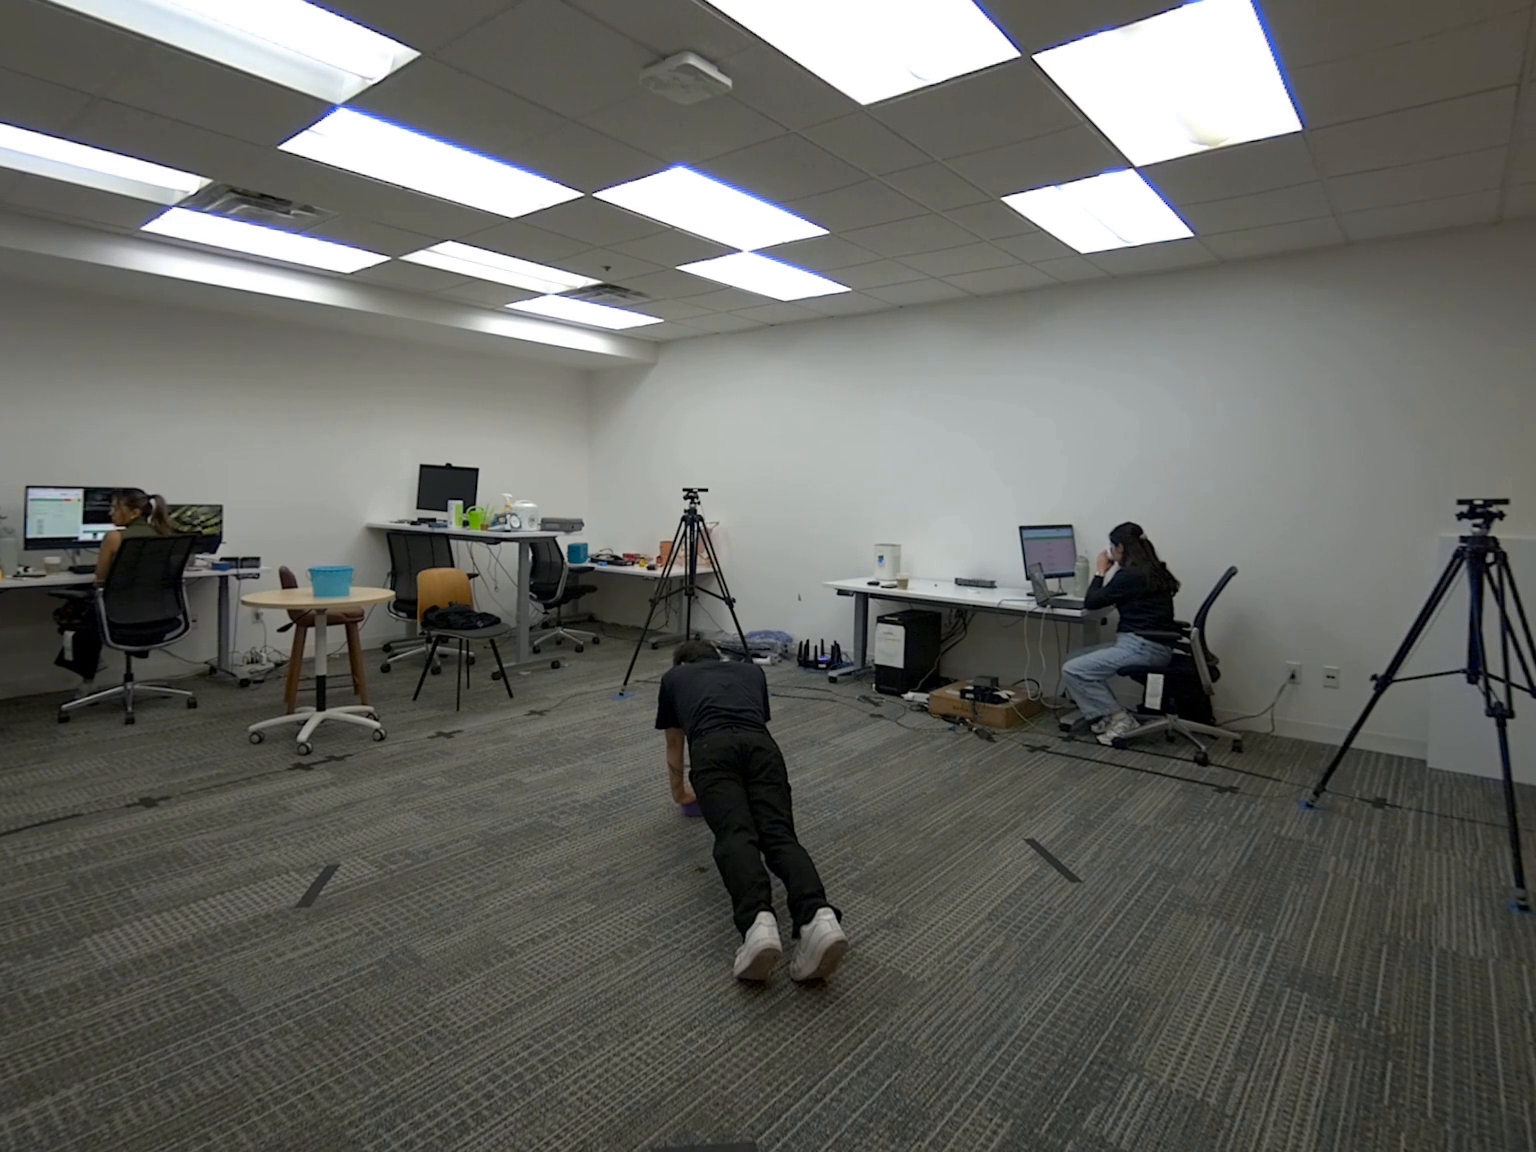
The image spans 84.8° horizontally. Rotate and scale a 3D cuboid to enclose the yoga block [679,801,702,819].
[{"bbox_3d":[-0.269,0.968,3.687,0.226,0.076,0.151,-1,5,-13],"label":"yoga block"}]
